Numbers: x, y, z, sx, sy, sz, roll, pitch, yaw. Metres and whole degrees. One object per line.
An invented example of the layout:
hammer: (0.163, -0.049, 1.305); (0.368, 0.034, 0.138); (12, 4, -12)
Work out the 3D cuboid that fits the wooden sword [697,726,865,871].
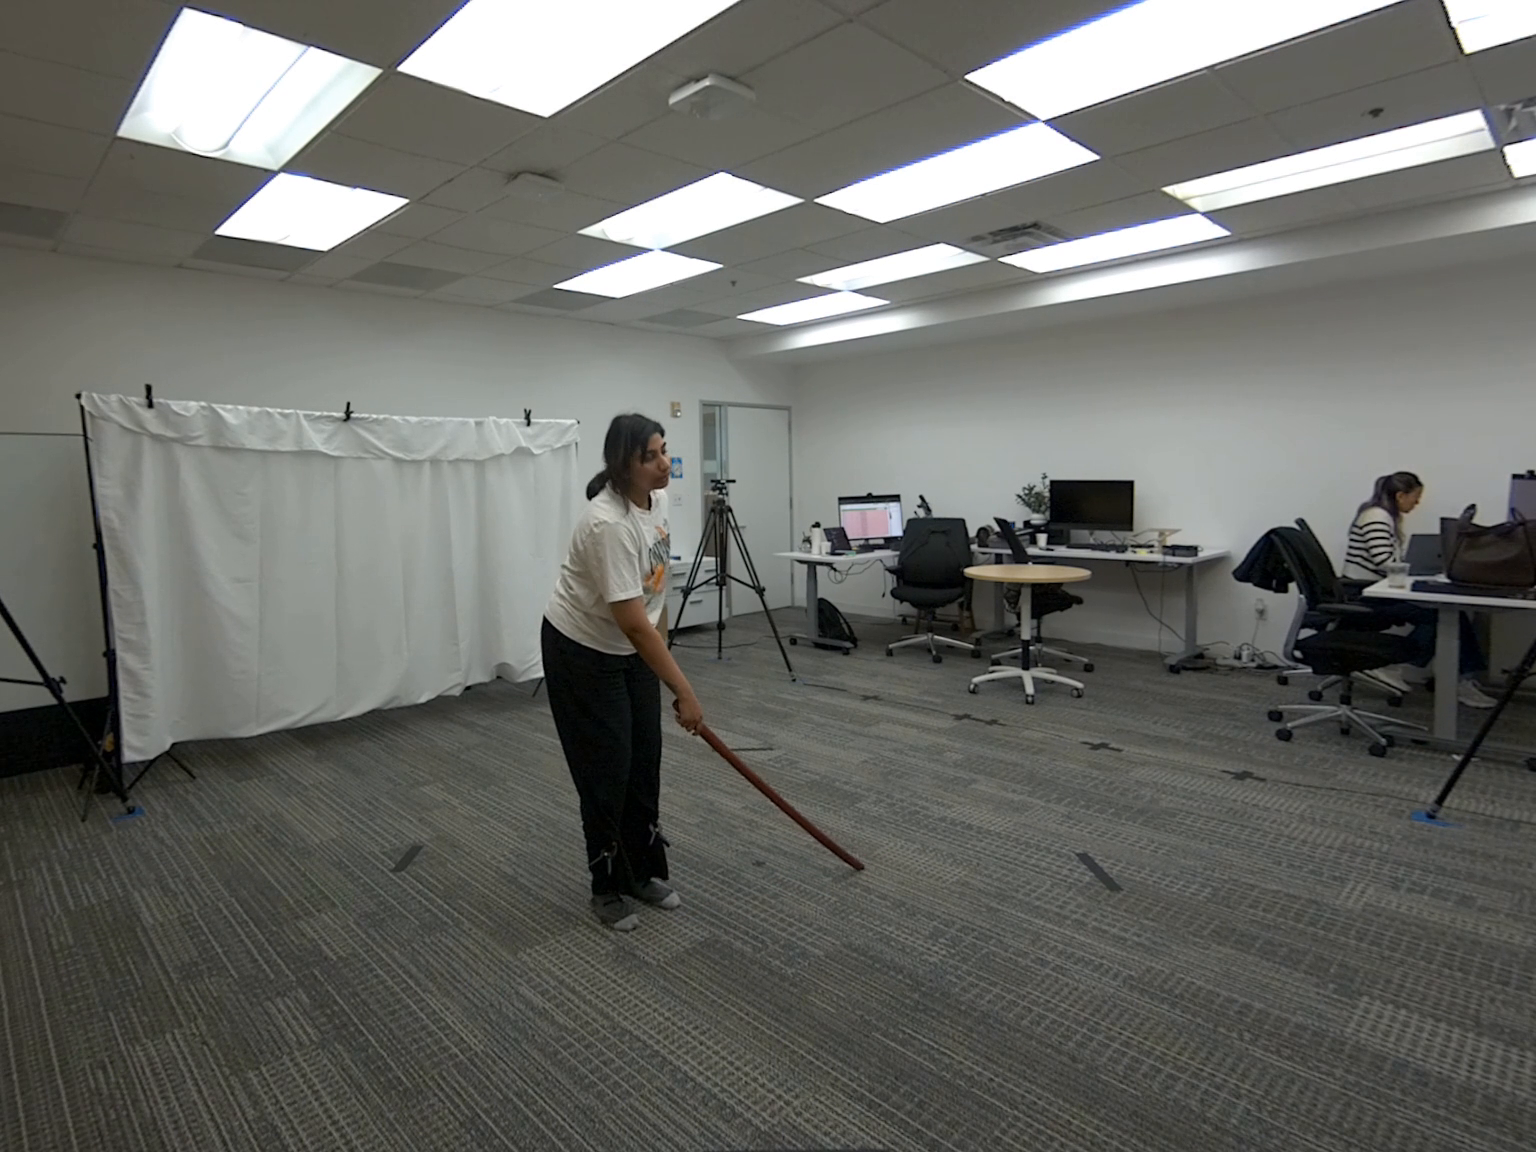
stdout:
wooden sword: (0.021, 0.721, 2.841); (0.052, 0.993, 0.024); (-29, 30, 28)
